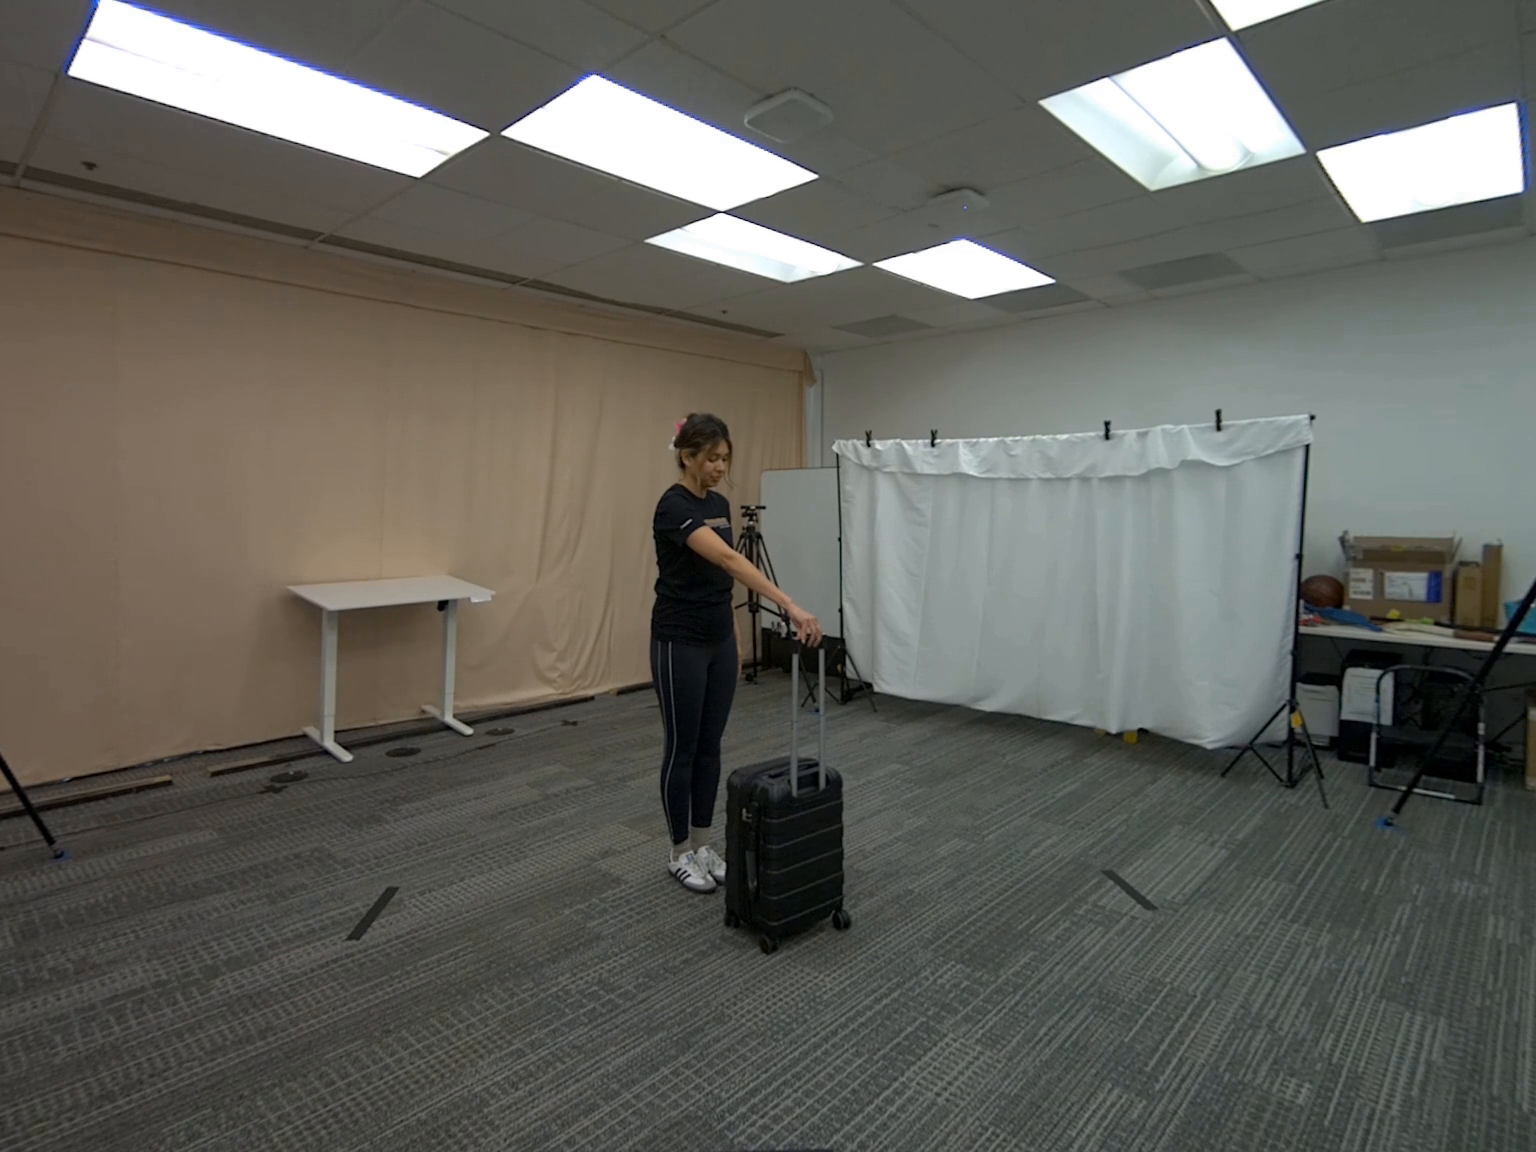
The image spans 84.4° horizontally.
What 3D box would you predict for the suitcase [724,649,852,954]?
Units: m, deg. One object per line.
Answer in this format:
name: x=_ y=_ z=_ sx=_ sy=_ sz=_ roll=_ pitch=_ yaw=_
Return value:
suitcase: x=0.058 y=0.684 z=2.758 sx=0.372 sy=0.977 sz=0.265 roll=-2 pitch=3 yaw=-37
